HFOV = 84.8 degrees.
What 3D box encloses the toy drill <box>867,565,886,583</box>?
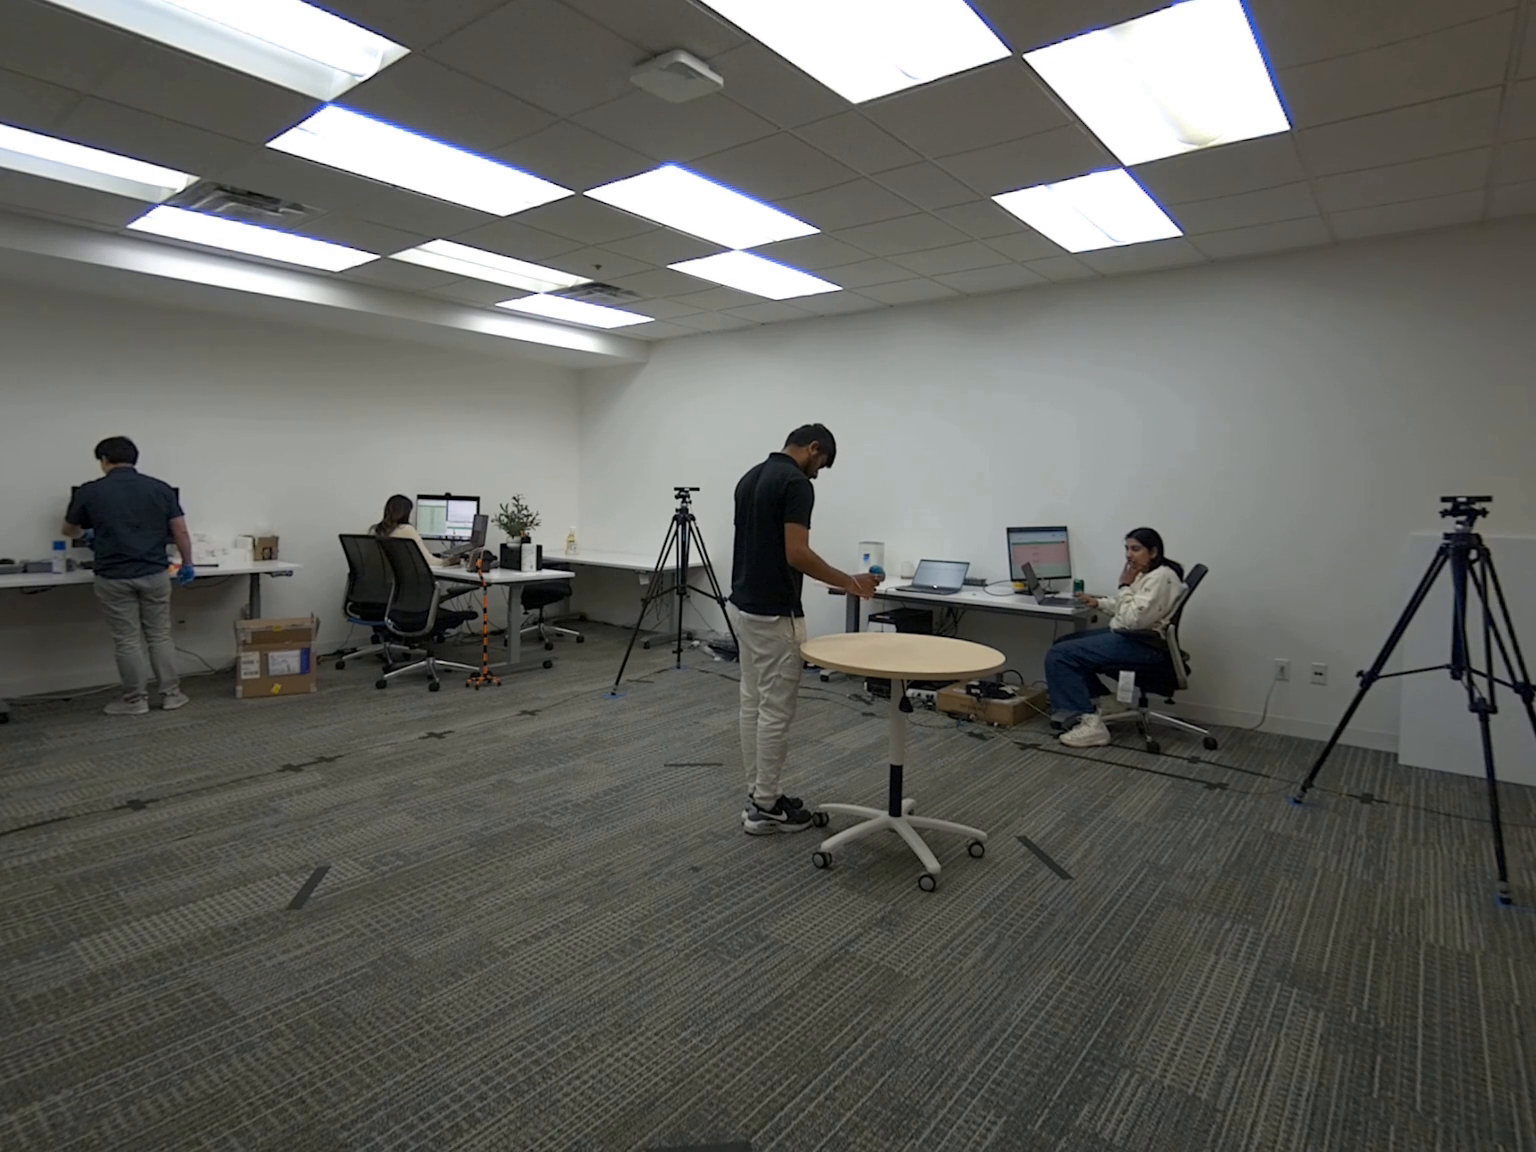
[{"bbox_3d":[0.420,0.032,3.469,0.063,0.146,0.164,32,-5,27],"label":"toy drill"}]
